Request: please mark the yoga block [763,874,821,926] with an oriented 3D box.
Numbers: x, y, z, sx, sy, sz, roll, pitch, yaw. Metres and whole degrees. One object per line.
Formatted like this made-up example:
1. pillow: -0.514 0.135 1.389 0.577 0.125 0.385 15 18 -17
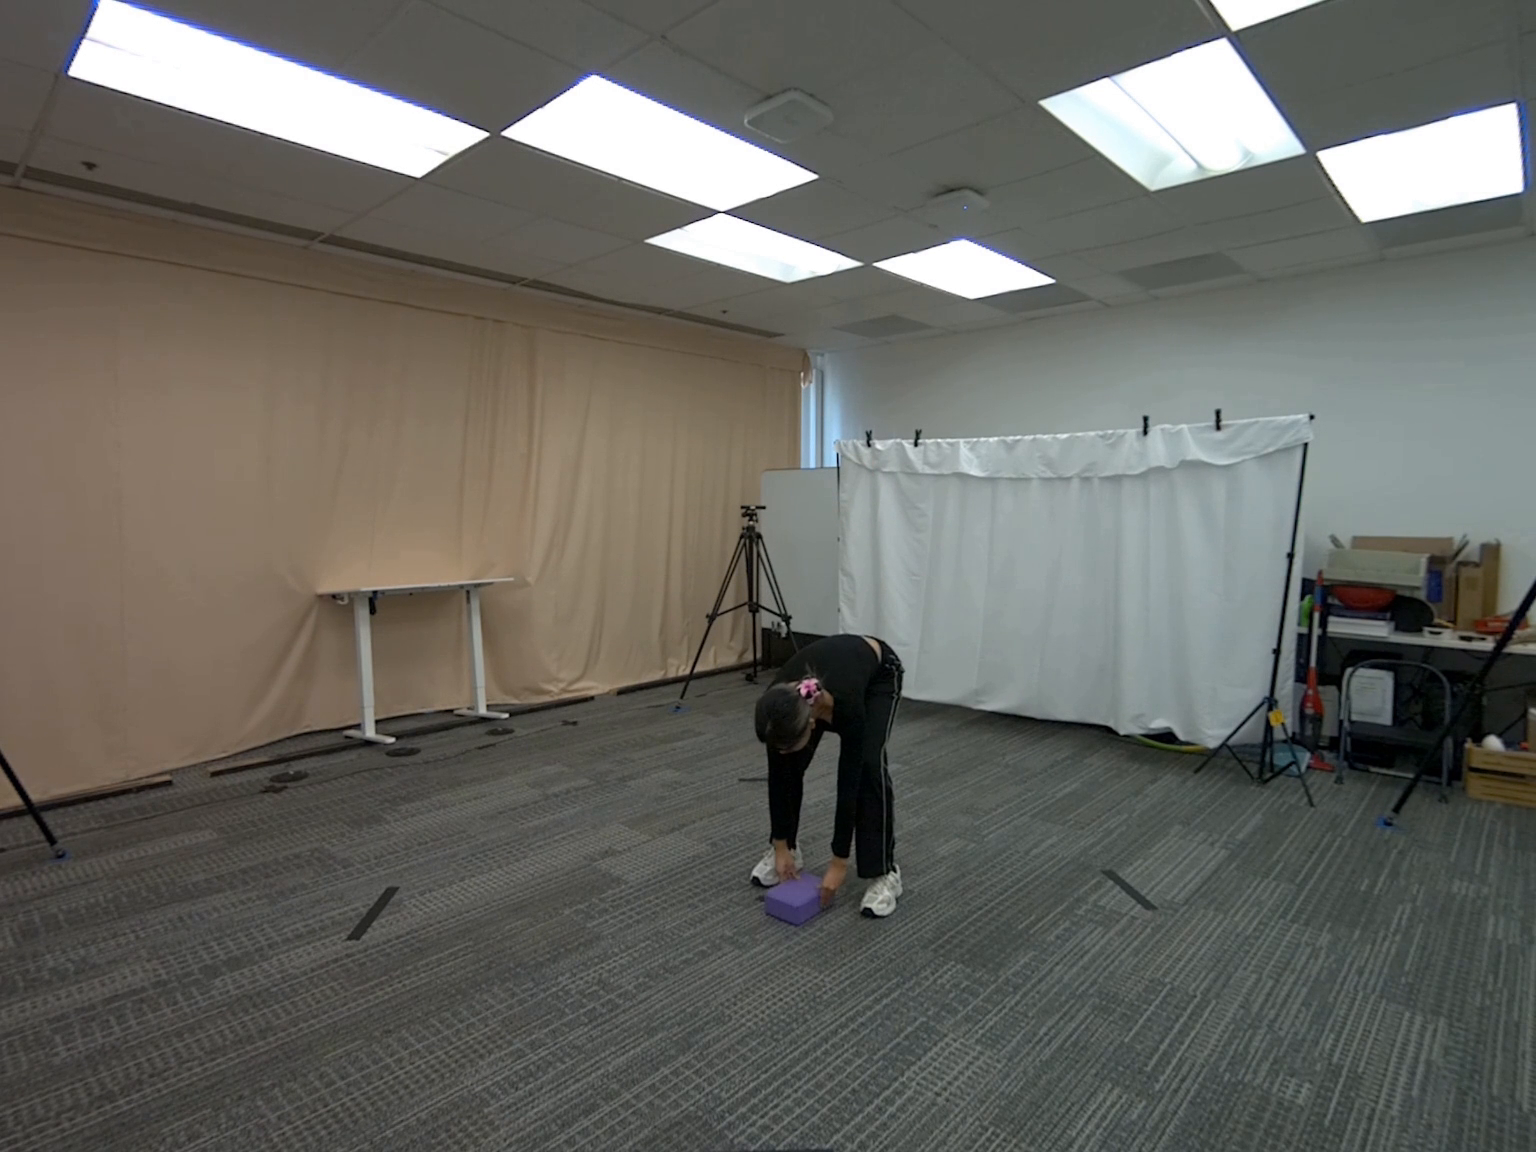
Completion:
1. yoga block: 0.119 1.105 2.911 0.154 0.076 0.222 6 8 38
